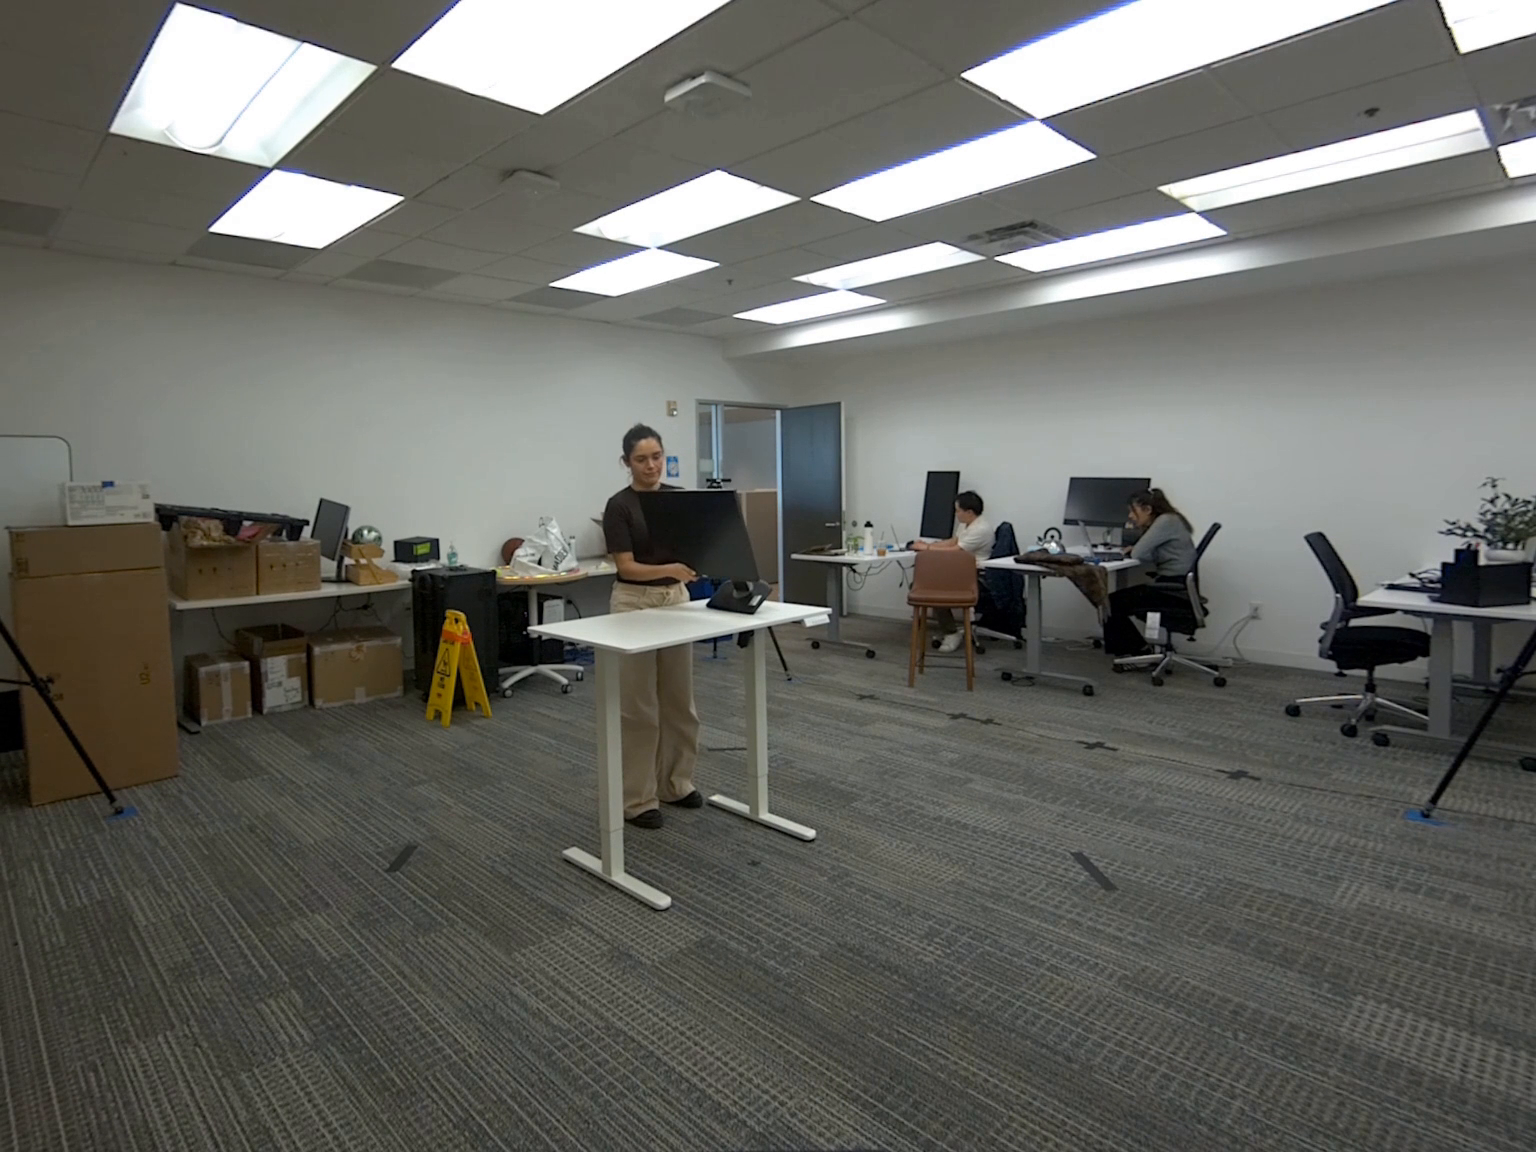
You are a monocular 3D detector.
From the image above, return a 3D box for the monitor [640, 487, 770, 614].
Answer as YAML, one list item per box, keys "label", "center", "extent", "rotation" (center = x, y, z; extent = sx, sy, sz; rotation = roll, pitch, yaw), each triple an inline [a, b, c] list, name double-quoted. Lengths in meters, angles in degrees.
- label: "monitor"
  center: [-0.209, -0.106, 3.257]
  extent: [0.555, 0.507, 0.187]
  rotation: [3, 39, 44]
